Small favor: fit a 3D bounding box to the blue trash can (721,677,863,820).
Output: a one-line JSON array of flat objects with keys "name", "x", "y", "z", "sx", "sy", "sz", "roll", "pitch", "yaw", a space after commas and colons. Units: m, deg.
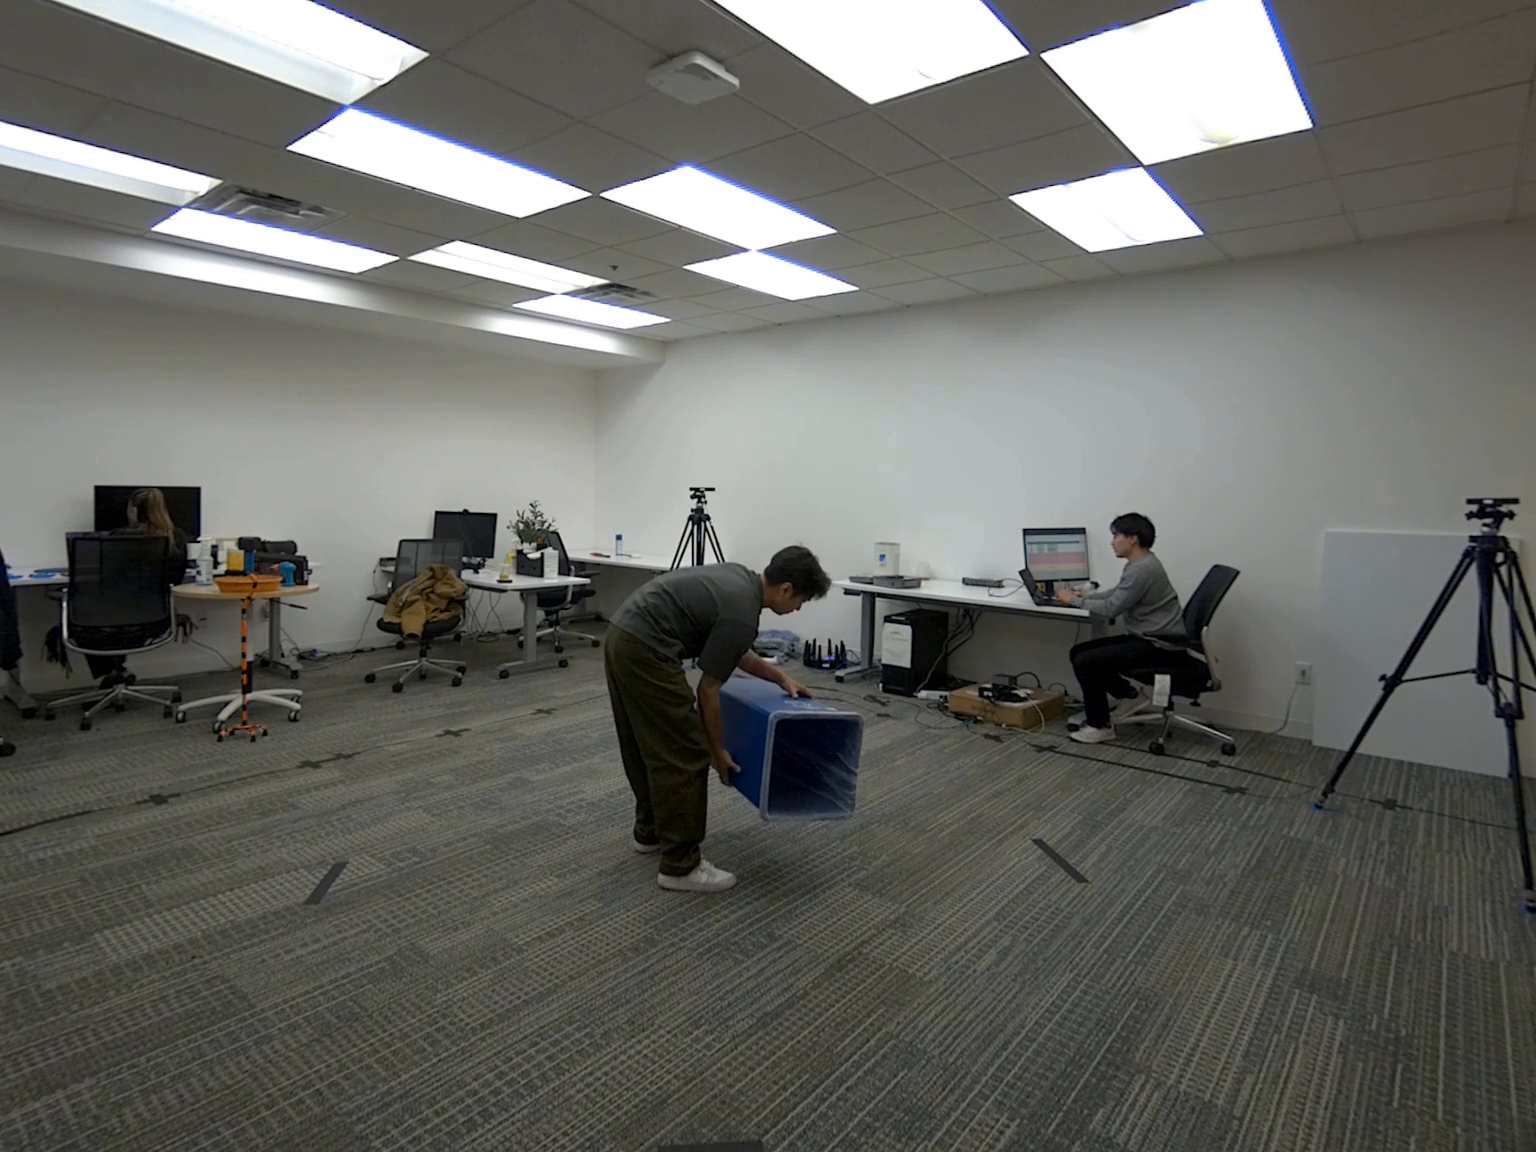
[{"name": "blue trash can", "x": -0.008, "y": 0.615, "z": 3.202, "sx": 0.368, "sy": 0.374, "sz": 0.733, "roll": 4, "pitch": 2, "yaw": -26}]
